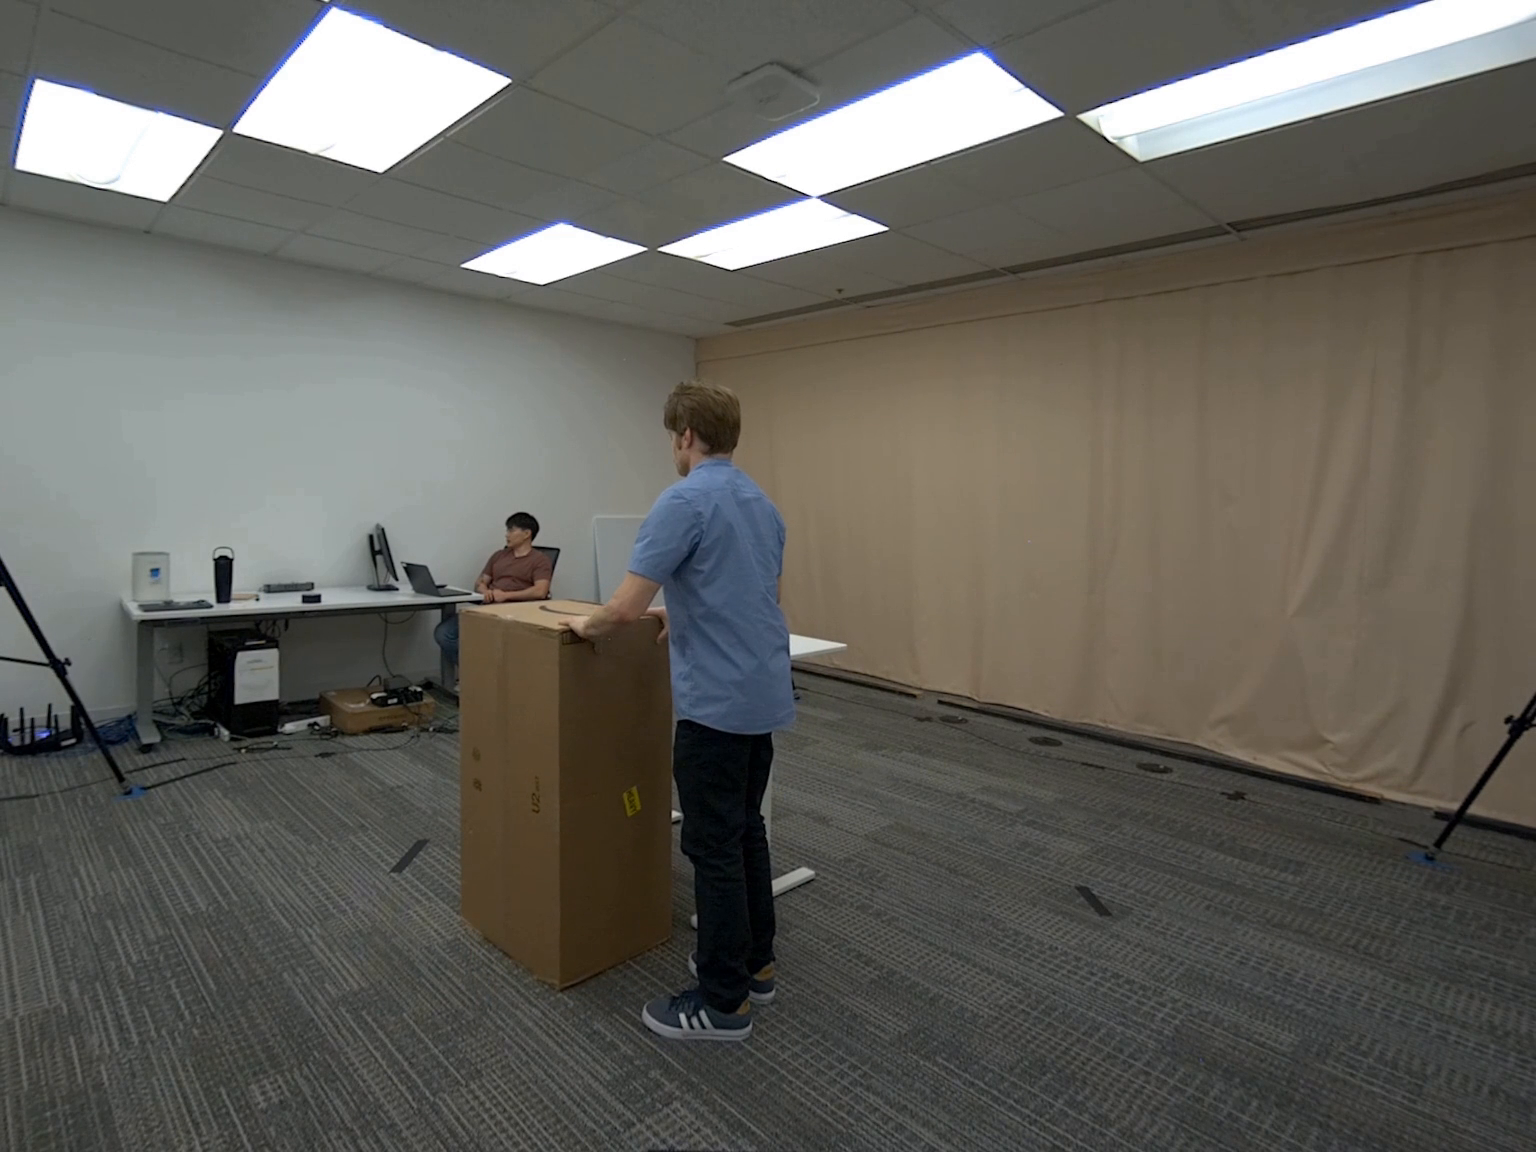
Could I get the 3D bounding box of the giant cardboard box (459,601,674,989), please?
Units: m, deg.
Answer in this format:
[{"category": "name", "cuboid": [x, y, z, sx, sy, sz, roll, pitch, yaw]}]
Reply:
[{"category": "giant cardboard box", "cuboid": [-0.653, 0.622, 2.675, 0.592, 1.024, 0.416, 4, 4, 45]}]
